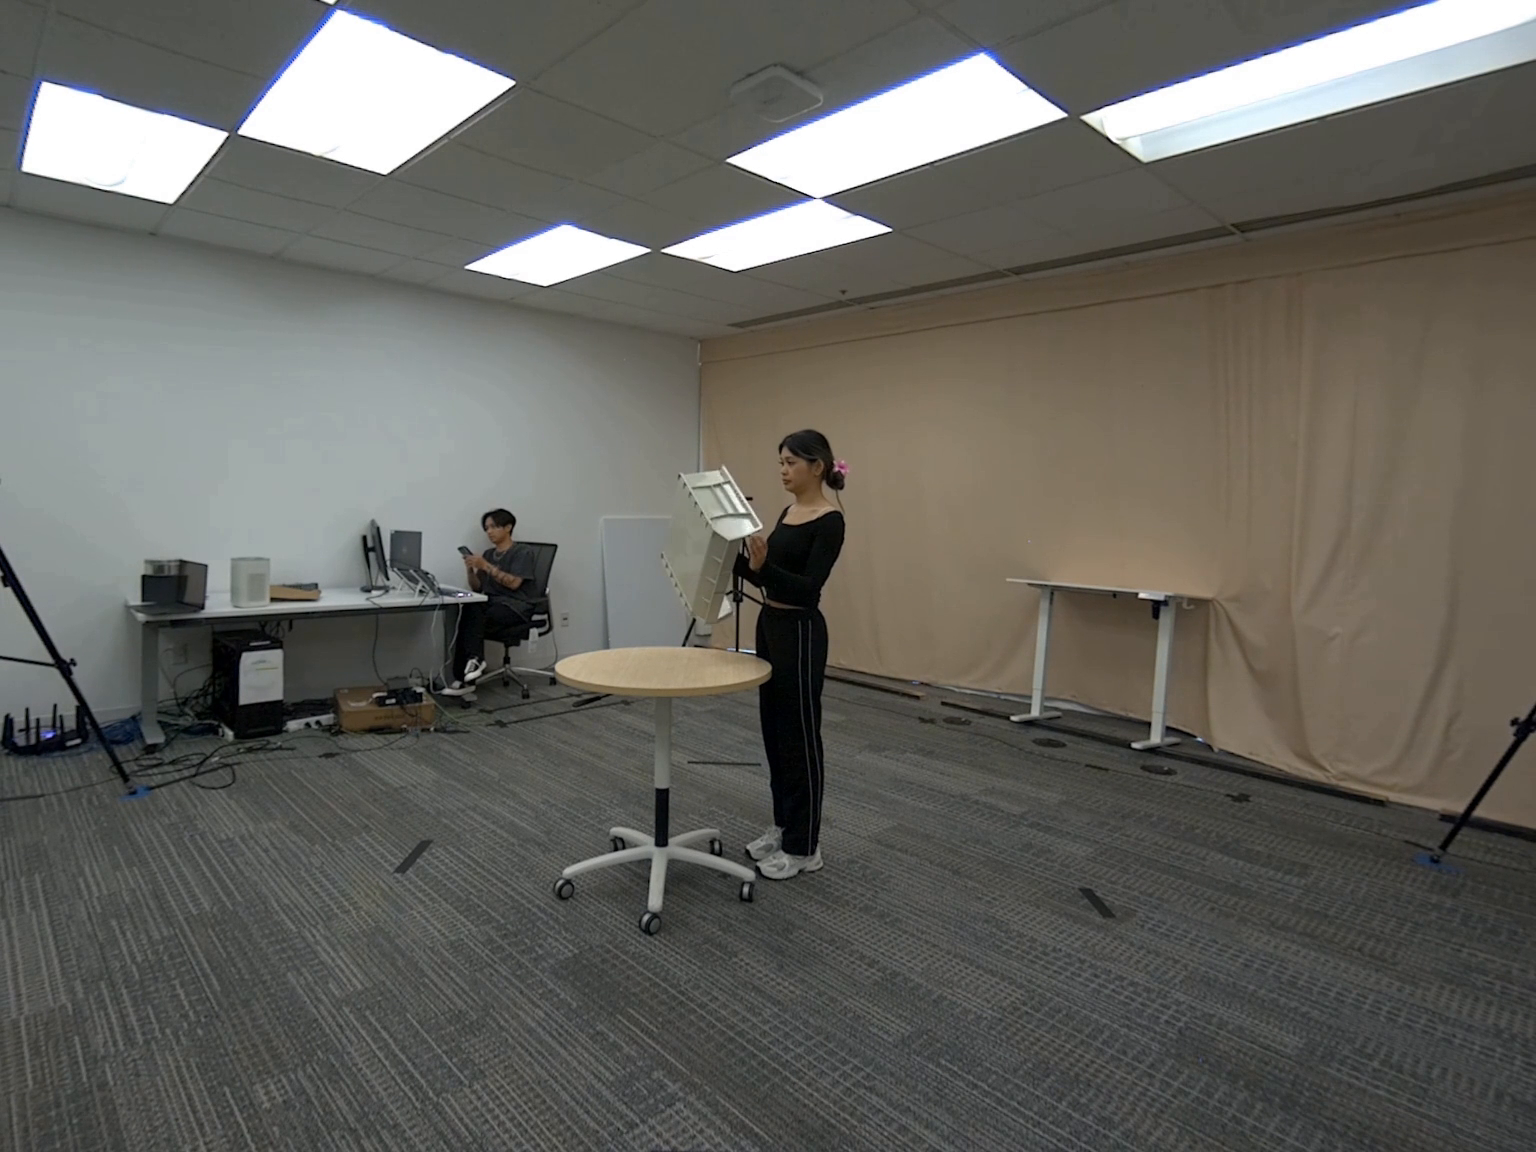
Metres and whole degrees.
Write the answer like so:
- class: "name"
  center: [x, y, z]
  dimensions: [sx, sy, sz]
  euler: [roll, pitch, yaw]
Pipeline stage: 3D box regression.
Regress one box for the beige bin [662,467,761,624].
- class: "beige bin"
  center: [-0.204, -0.106, 2.994]
  dimensions: [0.186, 0.416, 0.389]
  euler: [-7, 47, -26]
